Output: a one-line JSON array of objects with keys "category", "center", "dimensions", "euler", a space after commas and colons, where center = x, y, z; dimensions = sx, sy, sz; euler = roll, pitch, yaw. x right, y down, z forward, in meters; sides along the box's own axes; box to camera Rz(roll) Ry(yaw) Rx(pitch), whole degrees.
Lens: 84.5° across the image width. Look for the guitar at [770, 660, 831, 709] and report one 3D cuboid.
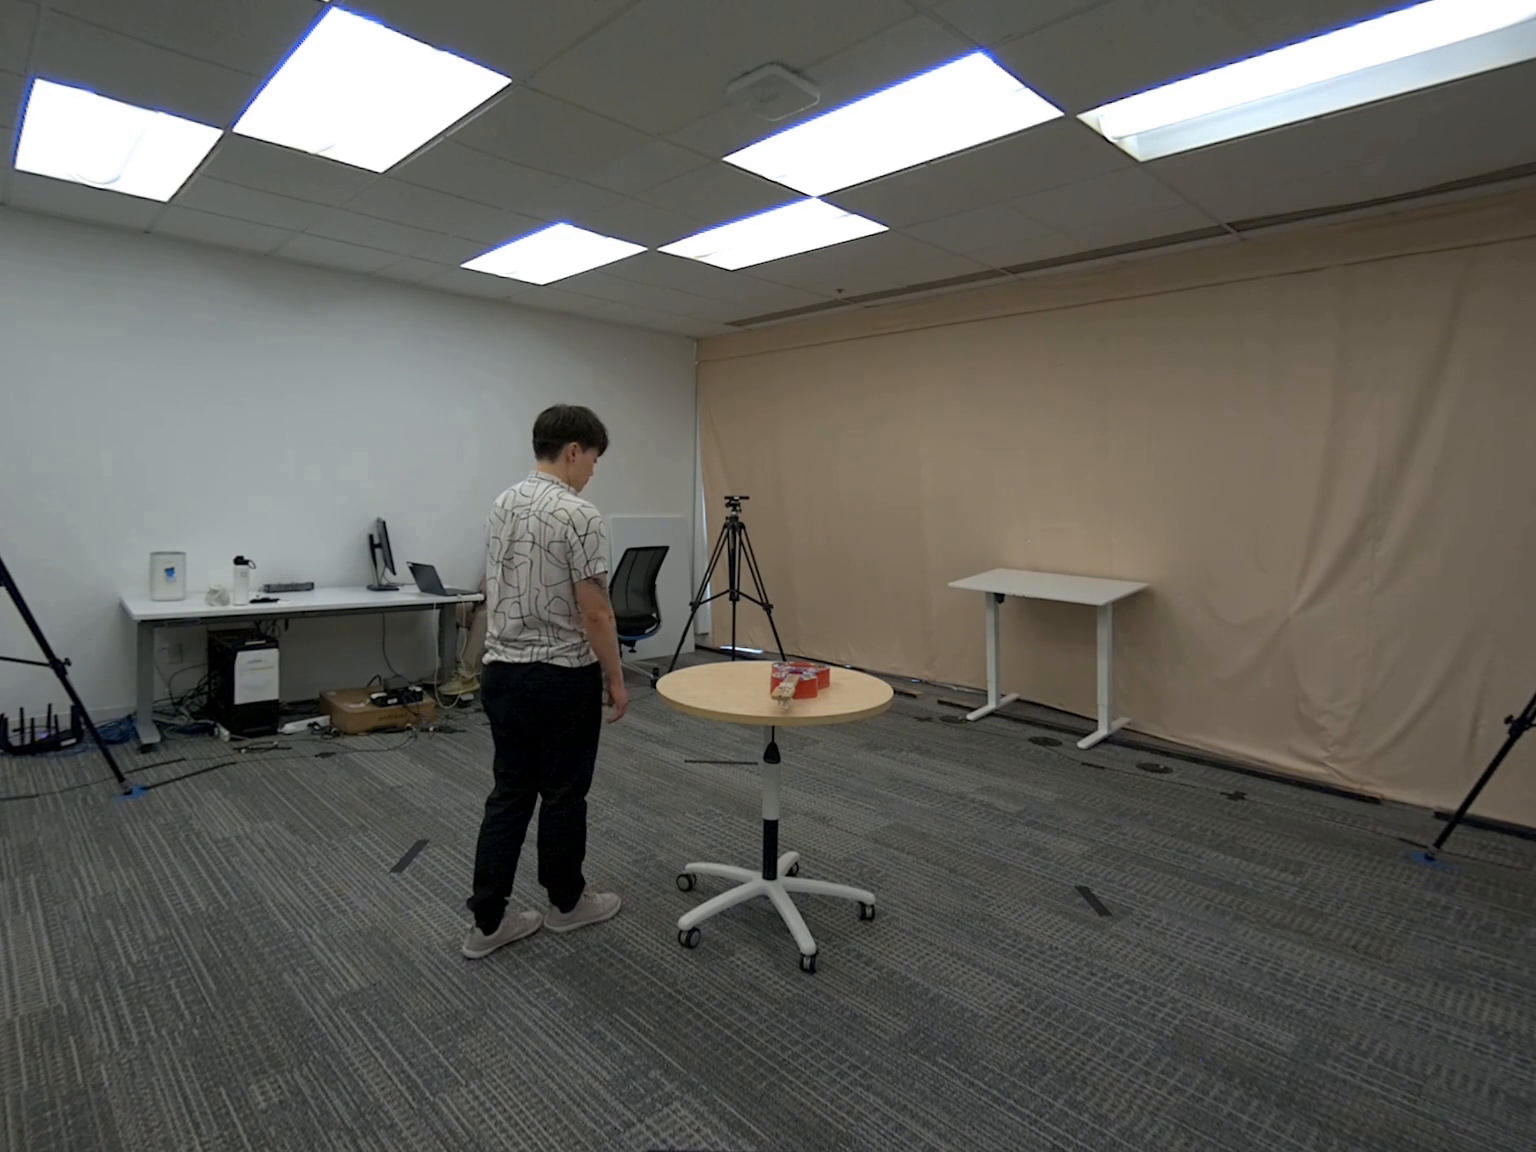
[{"category": "guitar", "center": [0.041, 0.342, 2.585], "dimensions": [0.196, 0.070, 0.491], "euler": [4, 6, 20]}]
